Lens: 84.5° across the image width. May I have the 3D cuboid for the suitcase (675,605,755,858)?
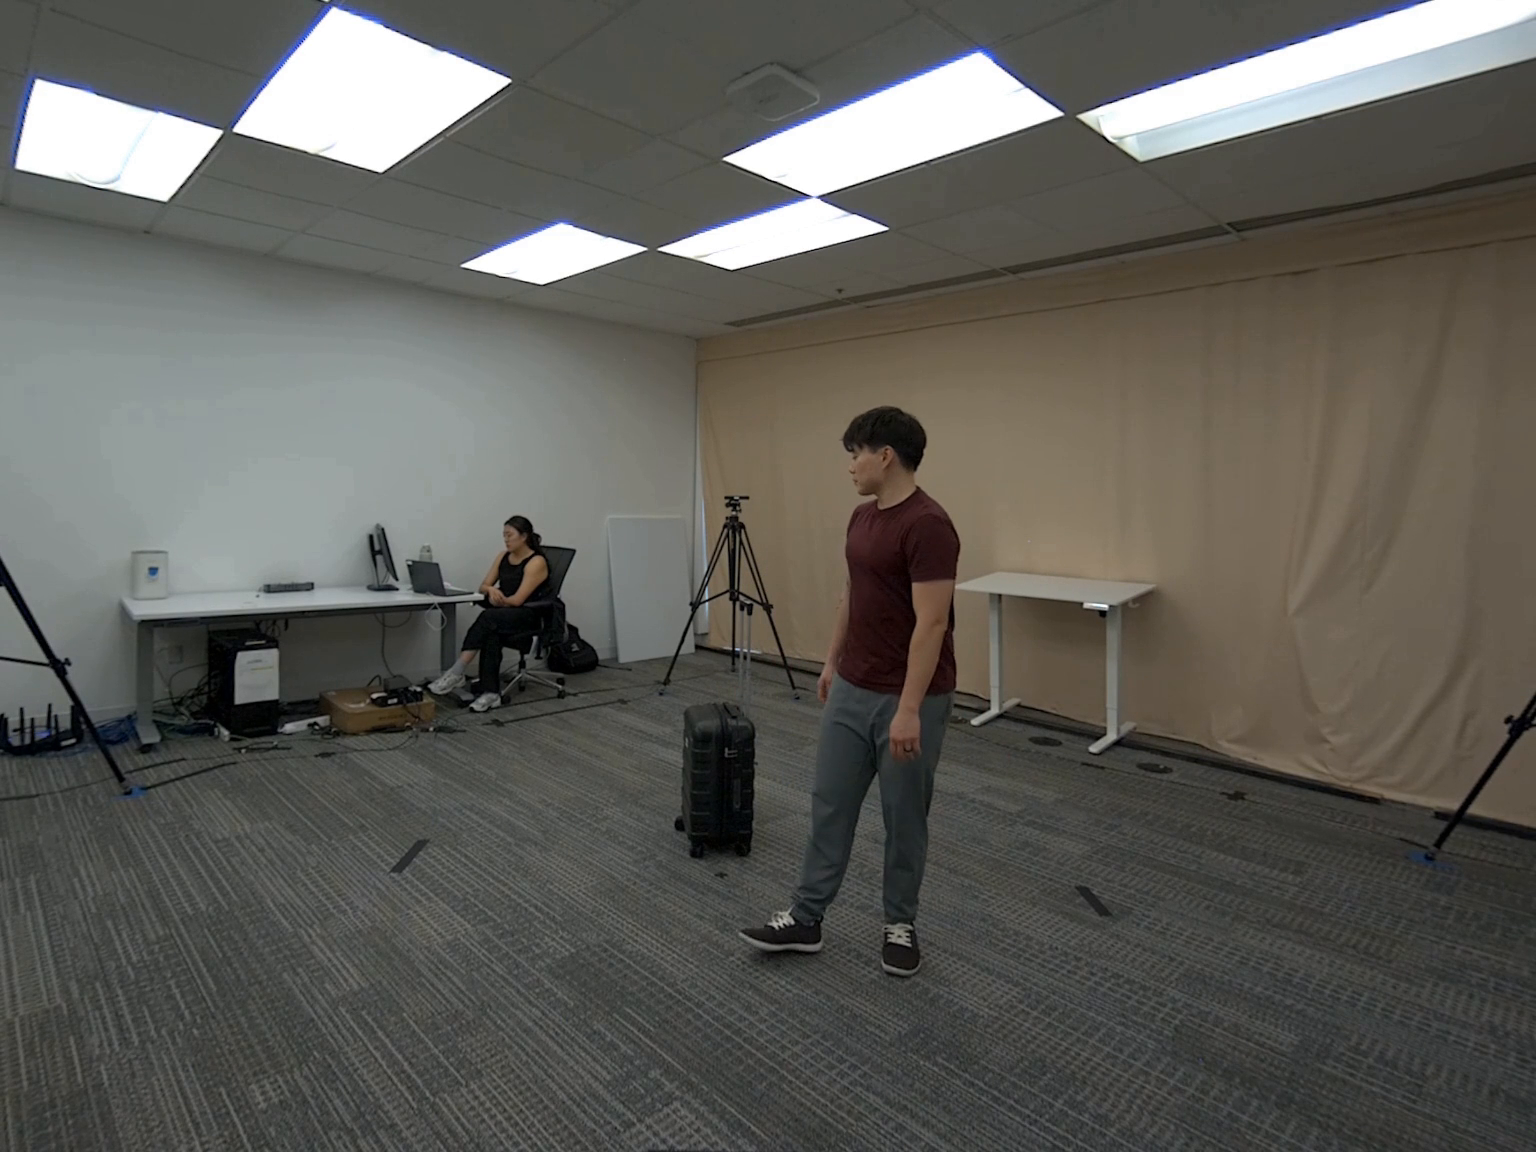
[{"bbox_3d":[-0.206,0.599,3.373,0.255,0.976,0.388,-1,3,-11],"label":"suitcase"}]
